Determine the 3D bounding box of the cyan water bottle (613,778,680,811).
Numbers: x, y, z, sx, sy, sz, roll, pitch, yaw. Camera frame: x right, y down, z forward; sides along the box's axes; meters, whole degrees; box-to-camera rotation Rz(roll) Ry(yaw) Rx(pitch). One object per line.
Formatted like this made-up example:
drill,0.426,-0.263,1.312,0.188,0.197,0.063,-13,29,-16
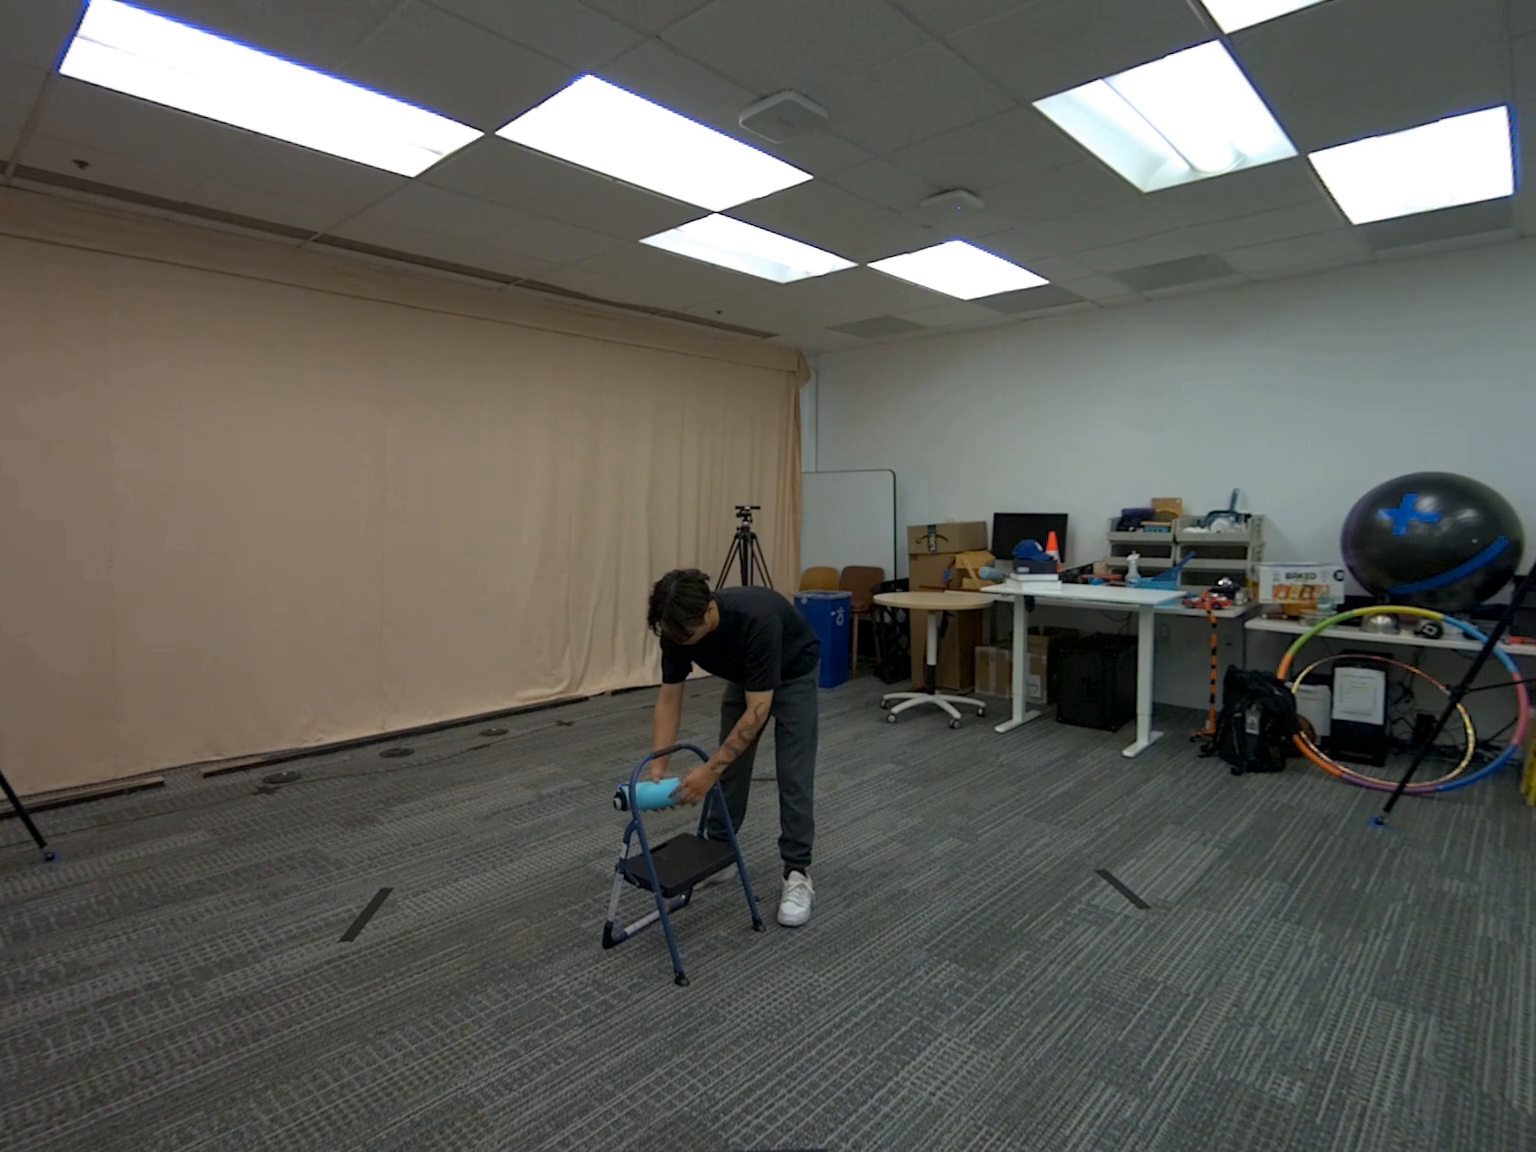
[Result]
cyan water bottle,-0.372,0.717,2.762,0.277,0.092,0.094,0,3,-24
